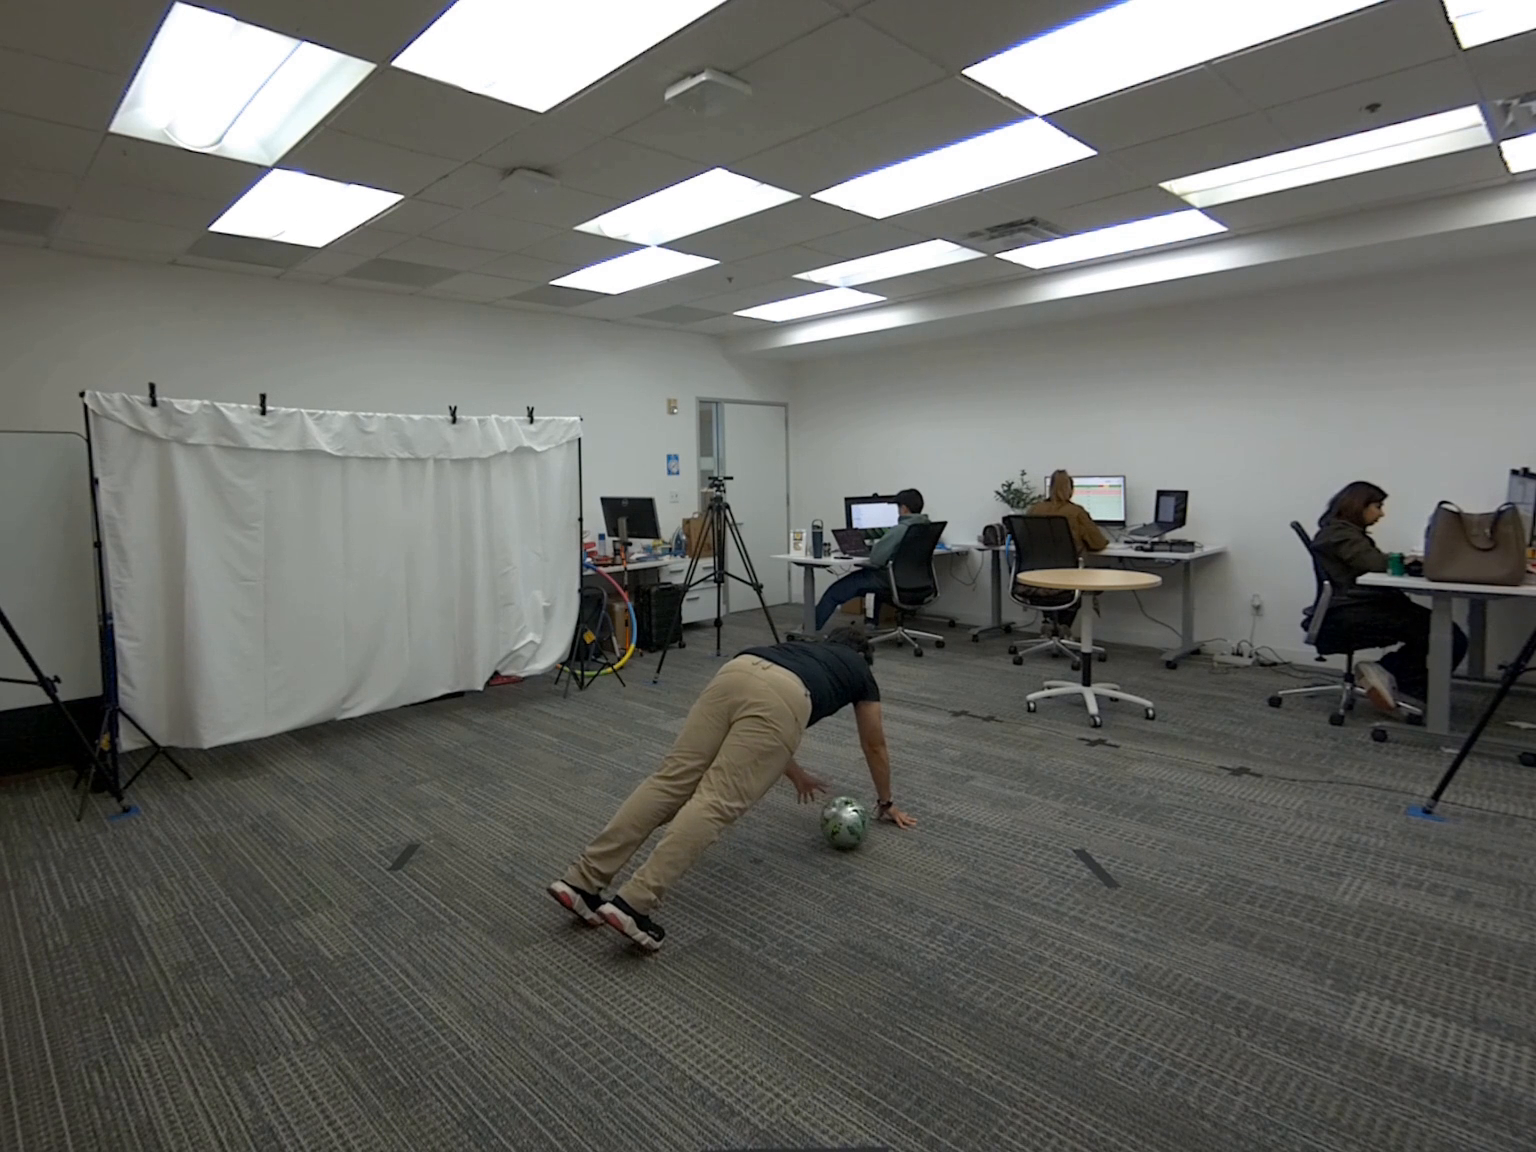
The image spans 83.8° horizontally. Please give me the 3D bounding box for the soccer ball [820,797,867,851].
[{"bbox_3d":[0.290,0.927,3.212,0.187,0.187,0.188,-1,5,-2],"label":"soccer ball"}]
